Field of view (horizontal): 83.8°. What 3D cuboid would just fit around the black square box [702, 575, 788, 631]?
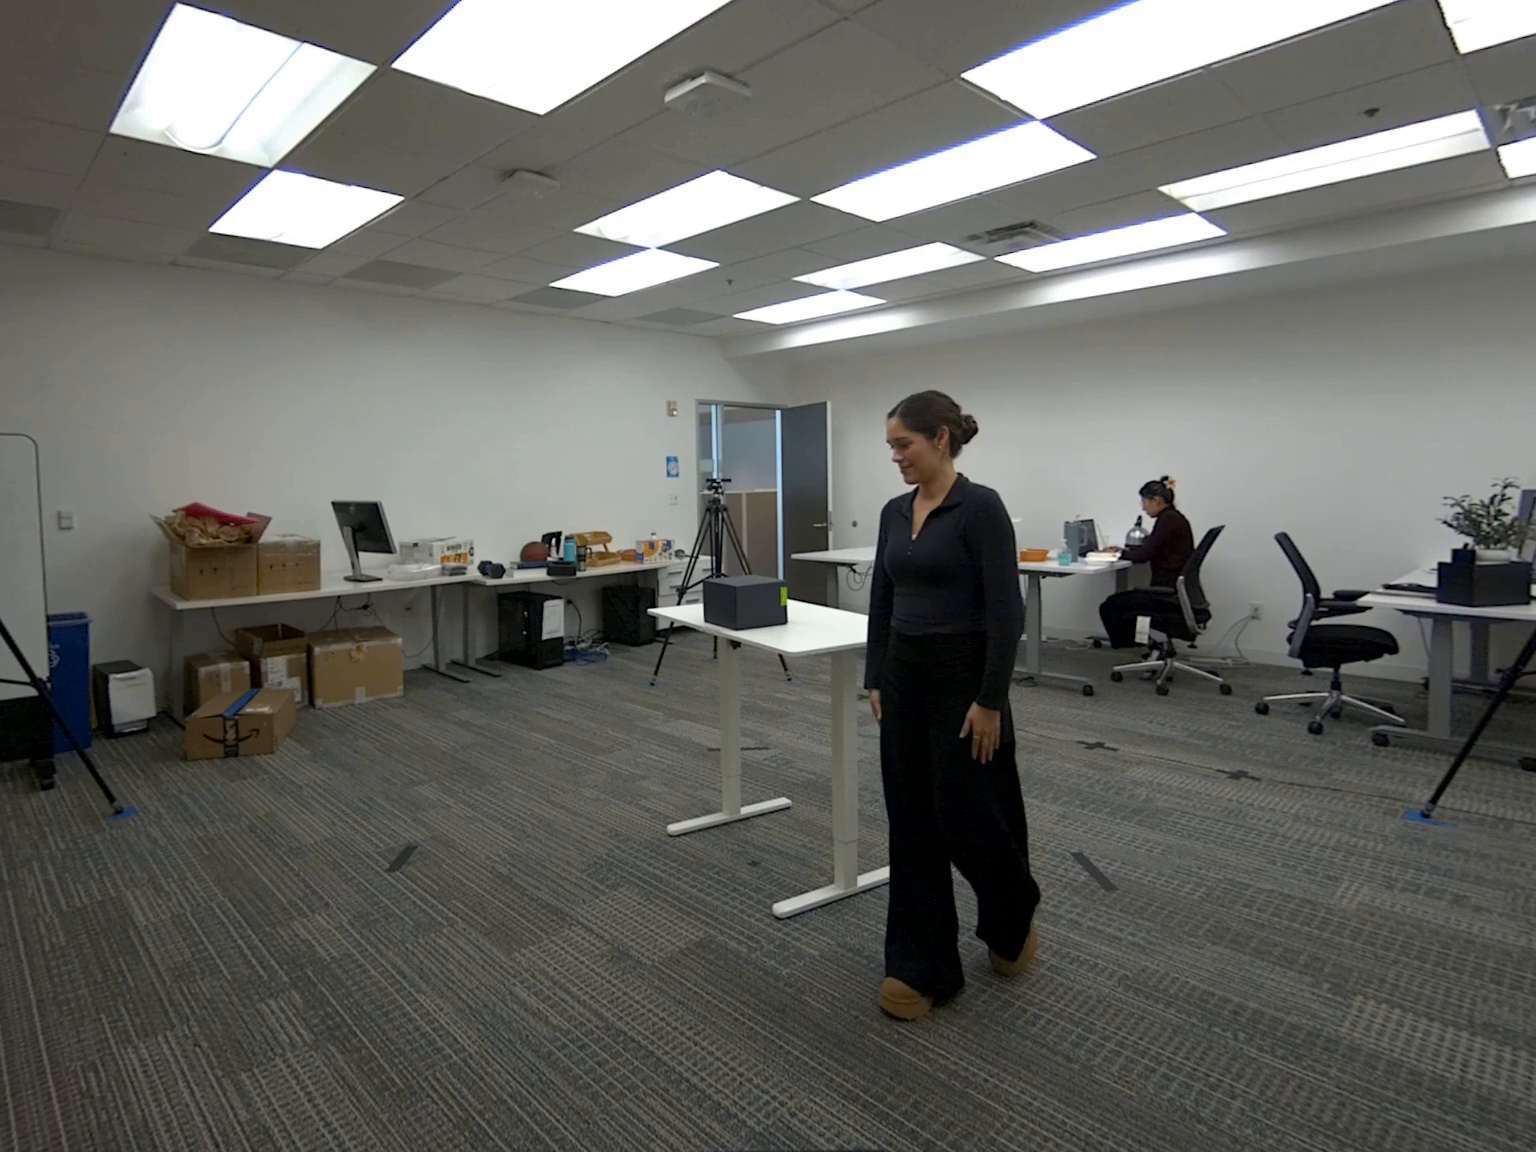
[{"bbox_3d":[-0.079,0.090,3.050,0.212,0.155,0.234,-5,7,-33],"label":"black square box"}]
